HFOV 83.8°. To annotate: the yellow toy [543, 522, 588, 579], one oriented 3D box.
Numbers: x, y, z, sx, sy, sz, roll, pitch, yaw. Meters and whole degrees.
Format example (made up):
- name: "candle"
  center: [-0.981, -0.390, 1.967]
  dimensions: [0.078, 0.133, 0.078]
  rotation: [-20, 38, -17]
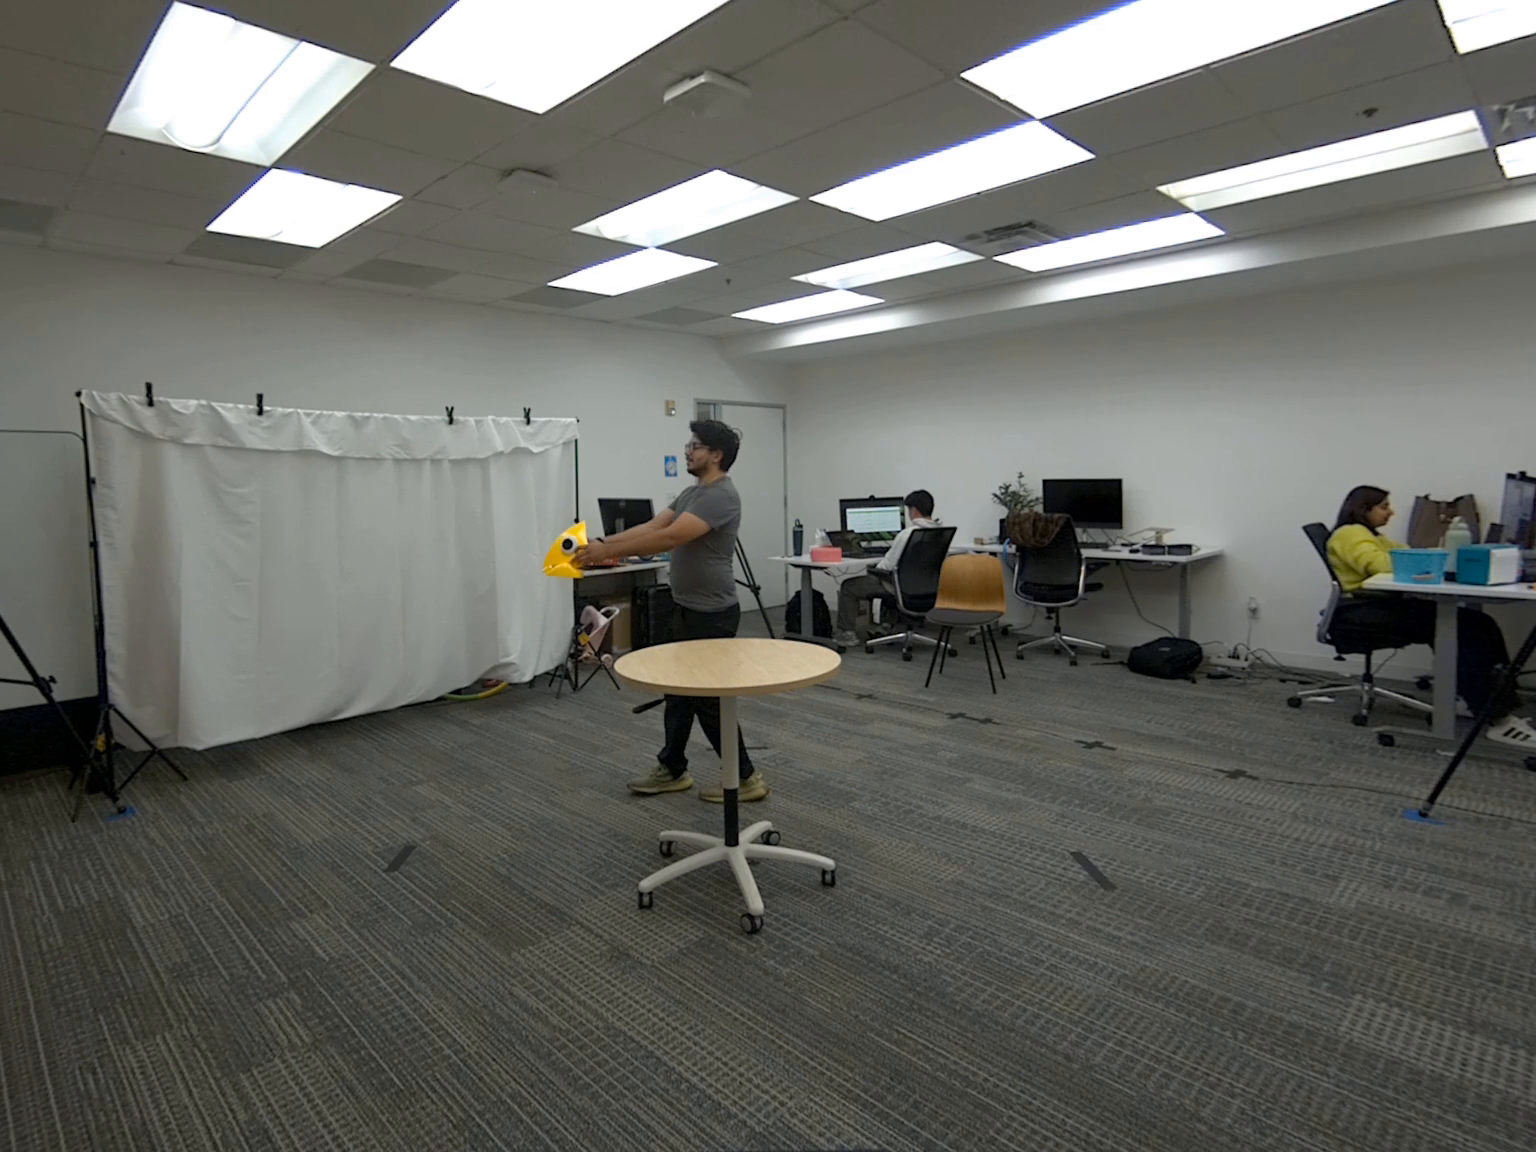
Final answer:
- name: "yellow toy"
  center: [-0.837, -0.119, 3.551]
  dimensions: [0.189, 0.230, 0.209]
  rotation: [3, 3, -21]
